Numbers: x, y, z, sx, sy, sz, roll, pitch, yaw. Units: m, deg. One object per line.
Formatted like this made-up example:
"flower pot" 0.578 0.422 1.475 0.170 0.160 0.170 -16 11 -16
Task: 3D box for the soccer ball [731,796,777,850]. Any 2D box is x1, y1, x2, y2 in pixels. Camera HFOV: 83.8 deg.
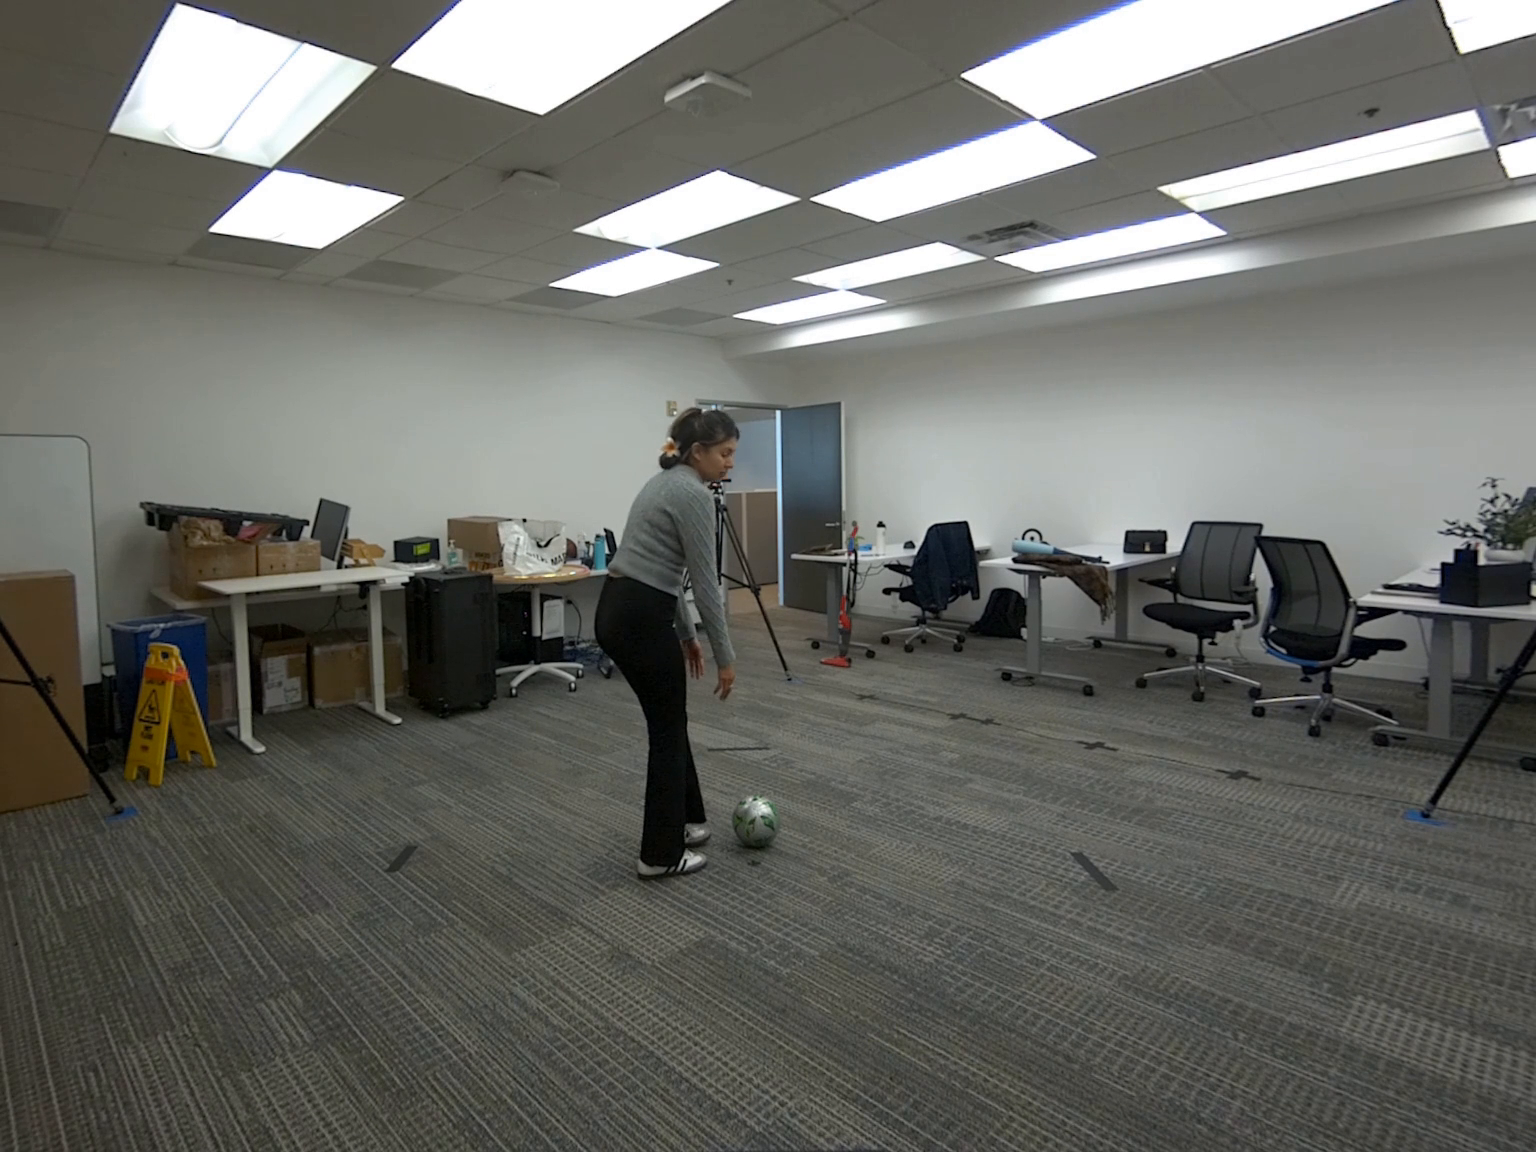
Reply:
"soccer ball" -0.045 0.931 3.252 0.187 0.187 0.188 -1 5 -2
